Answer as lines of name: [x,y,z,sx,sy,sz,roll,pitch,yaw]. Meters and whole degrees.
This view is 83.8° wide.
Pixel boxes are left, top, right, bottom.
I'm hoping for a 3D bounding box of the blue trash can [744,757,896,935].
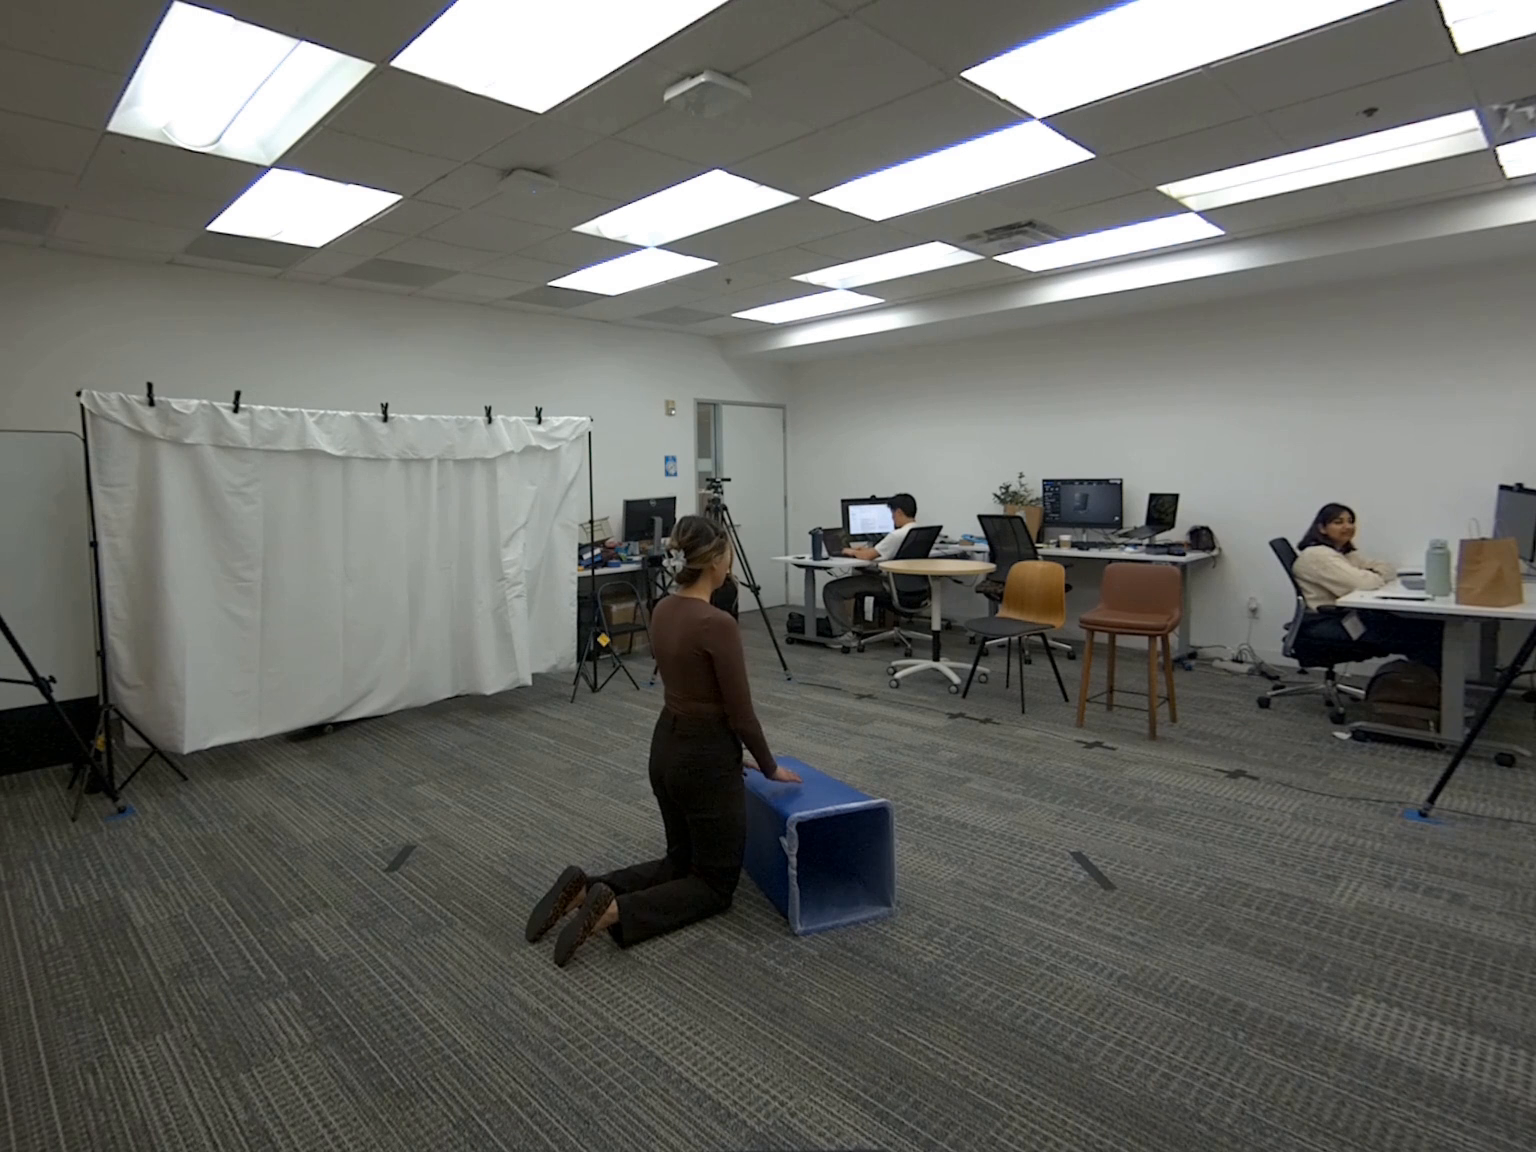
blue trash can: [0.105,0.879,2.990,0.367,0.377,0.728,-4,5,-21]
